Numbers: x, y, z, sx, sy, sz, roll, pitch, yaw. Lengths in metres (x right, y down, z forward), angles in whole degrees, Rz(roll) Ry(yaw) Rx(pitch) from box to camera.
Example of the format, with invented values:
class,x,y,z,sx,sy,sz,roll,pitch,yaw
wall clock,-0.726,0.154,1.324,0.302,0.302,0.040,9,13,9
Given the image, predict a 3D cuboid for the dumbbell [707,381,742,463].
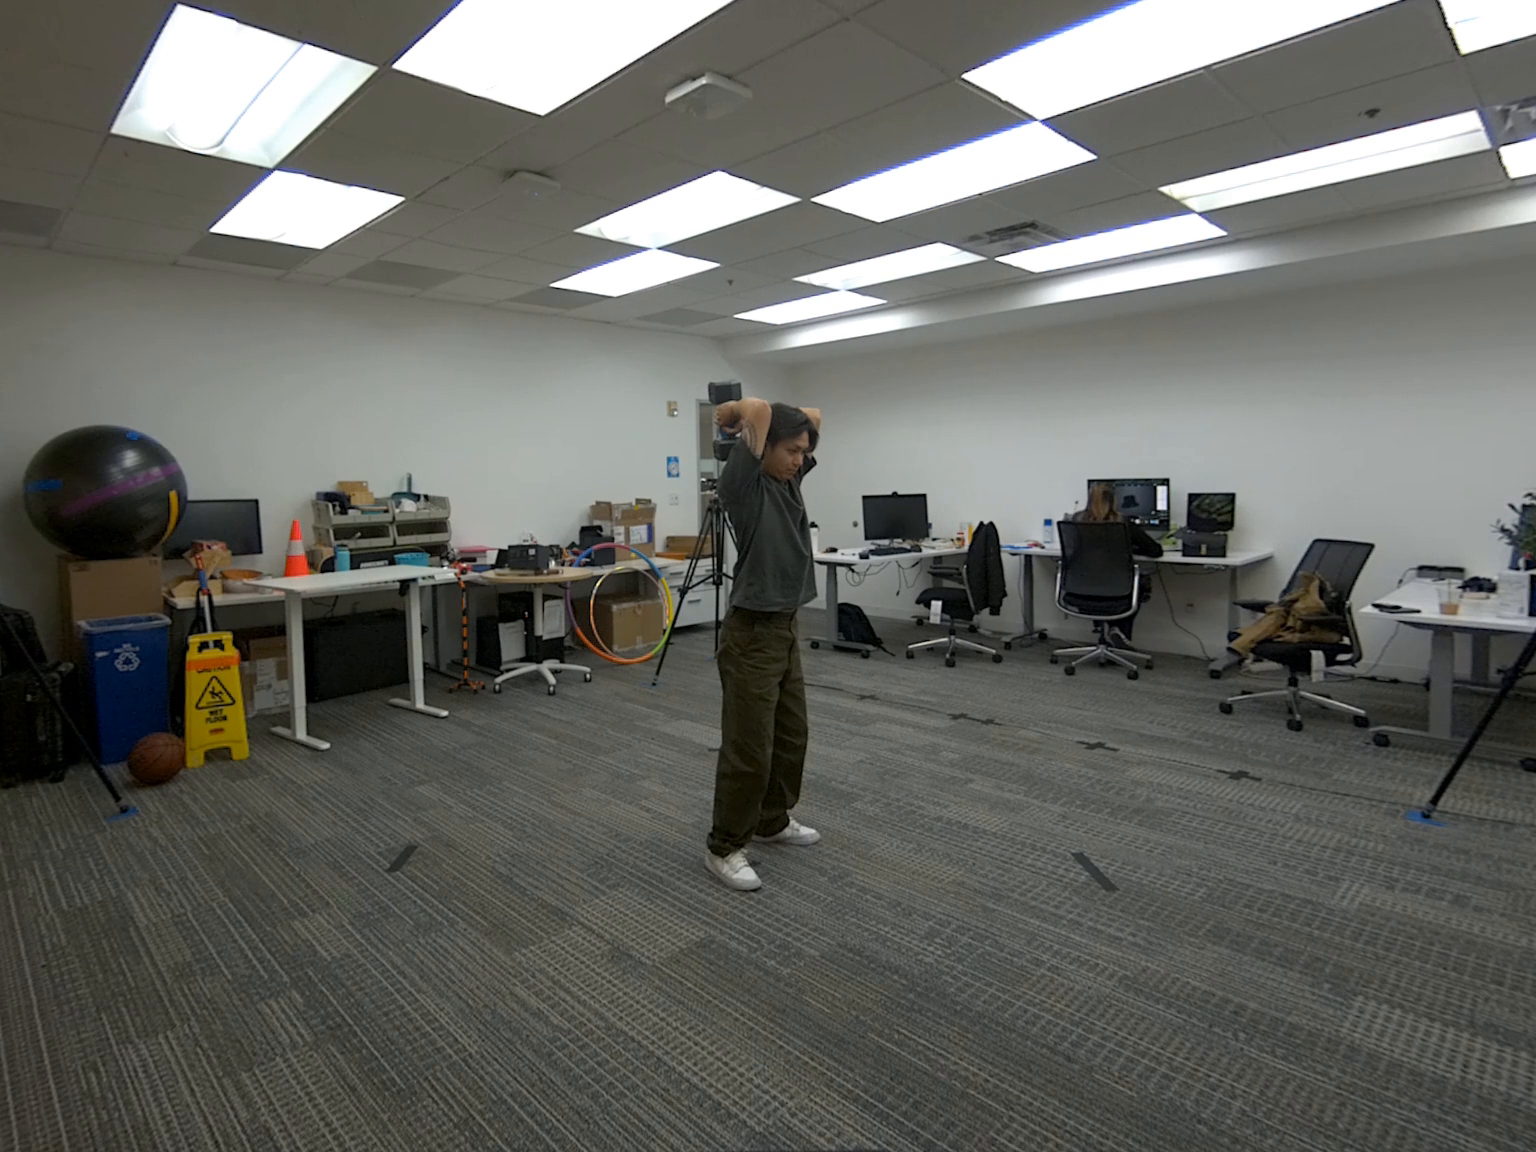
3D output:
class,x,y,z,sx,sy,sz,roll,pitch,yaw
dumbbell,-0.144,-0.580,3.154,0.107,0.289,0.127,-11,18,-23
